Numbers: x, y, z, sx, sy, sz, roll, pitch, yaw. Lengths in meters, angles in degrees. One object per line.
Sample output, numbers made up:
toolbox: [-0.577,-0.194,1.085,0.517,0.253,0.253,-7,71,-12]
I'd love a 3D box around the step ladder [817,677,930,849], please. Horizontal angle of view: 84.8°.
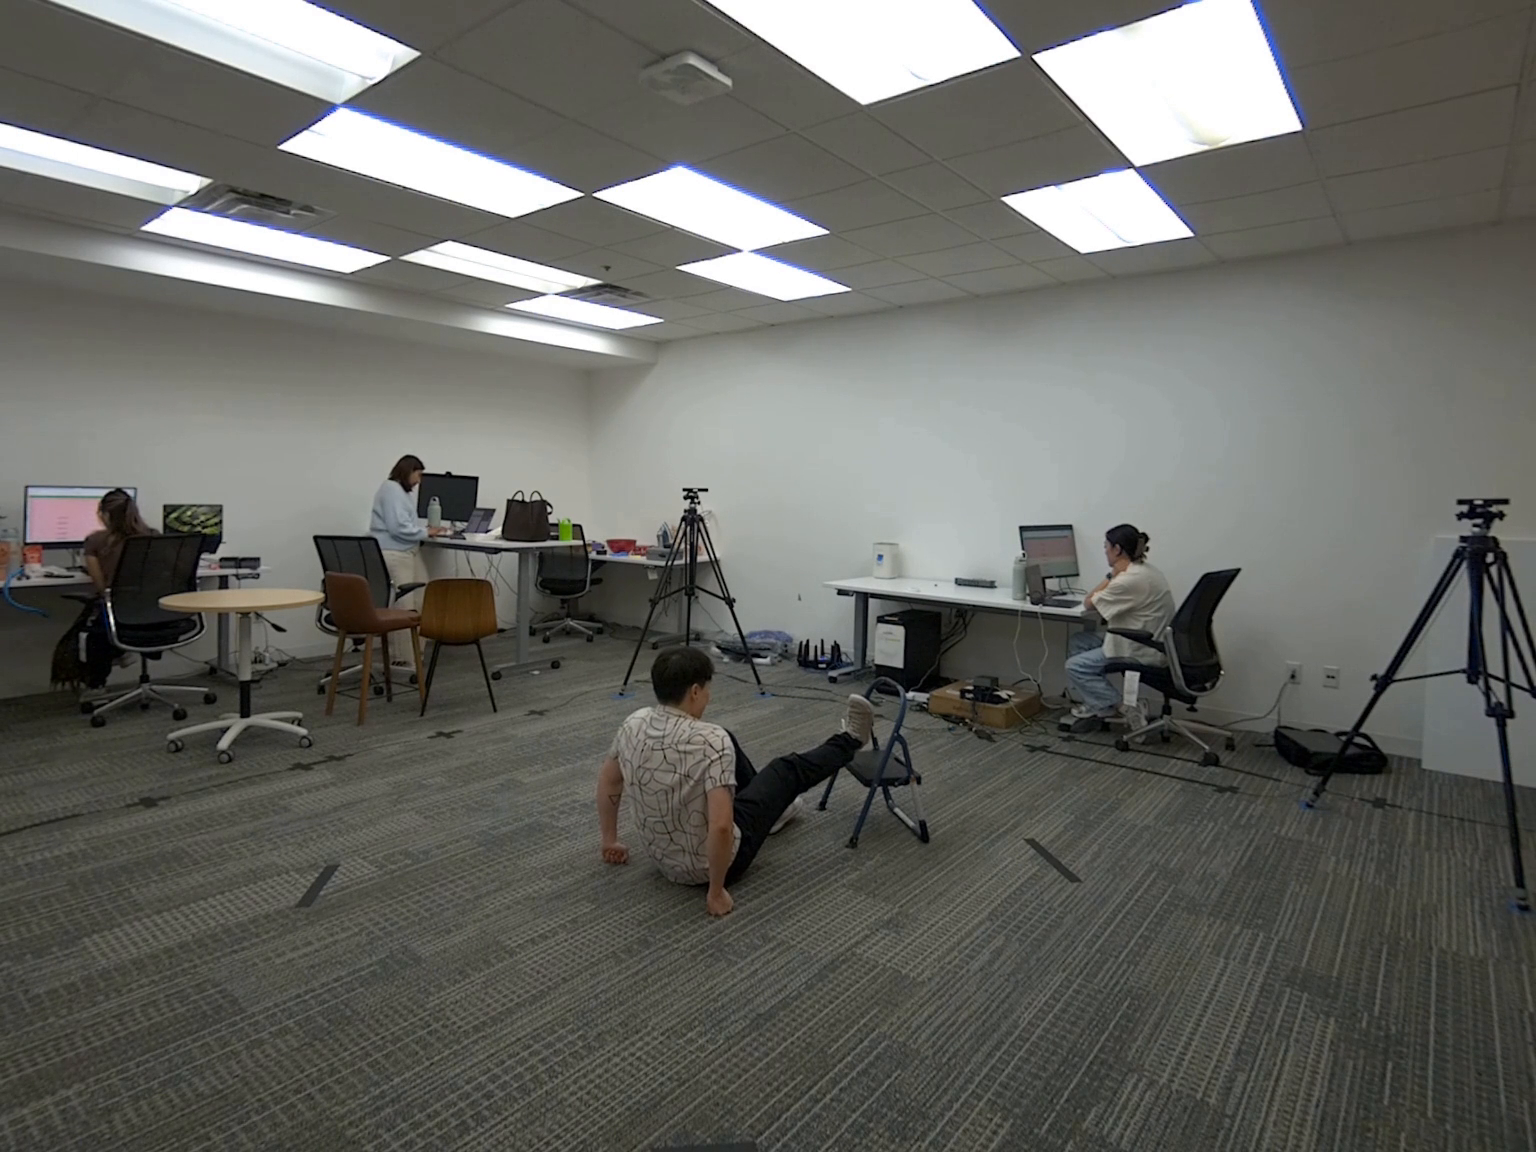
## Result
step ladder: [0.431,0.741,3.551,0.345,0.604,0.438,0,4,-13]
